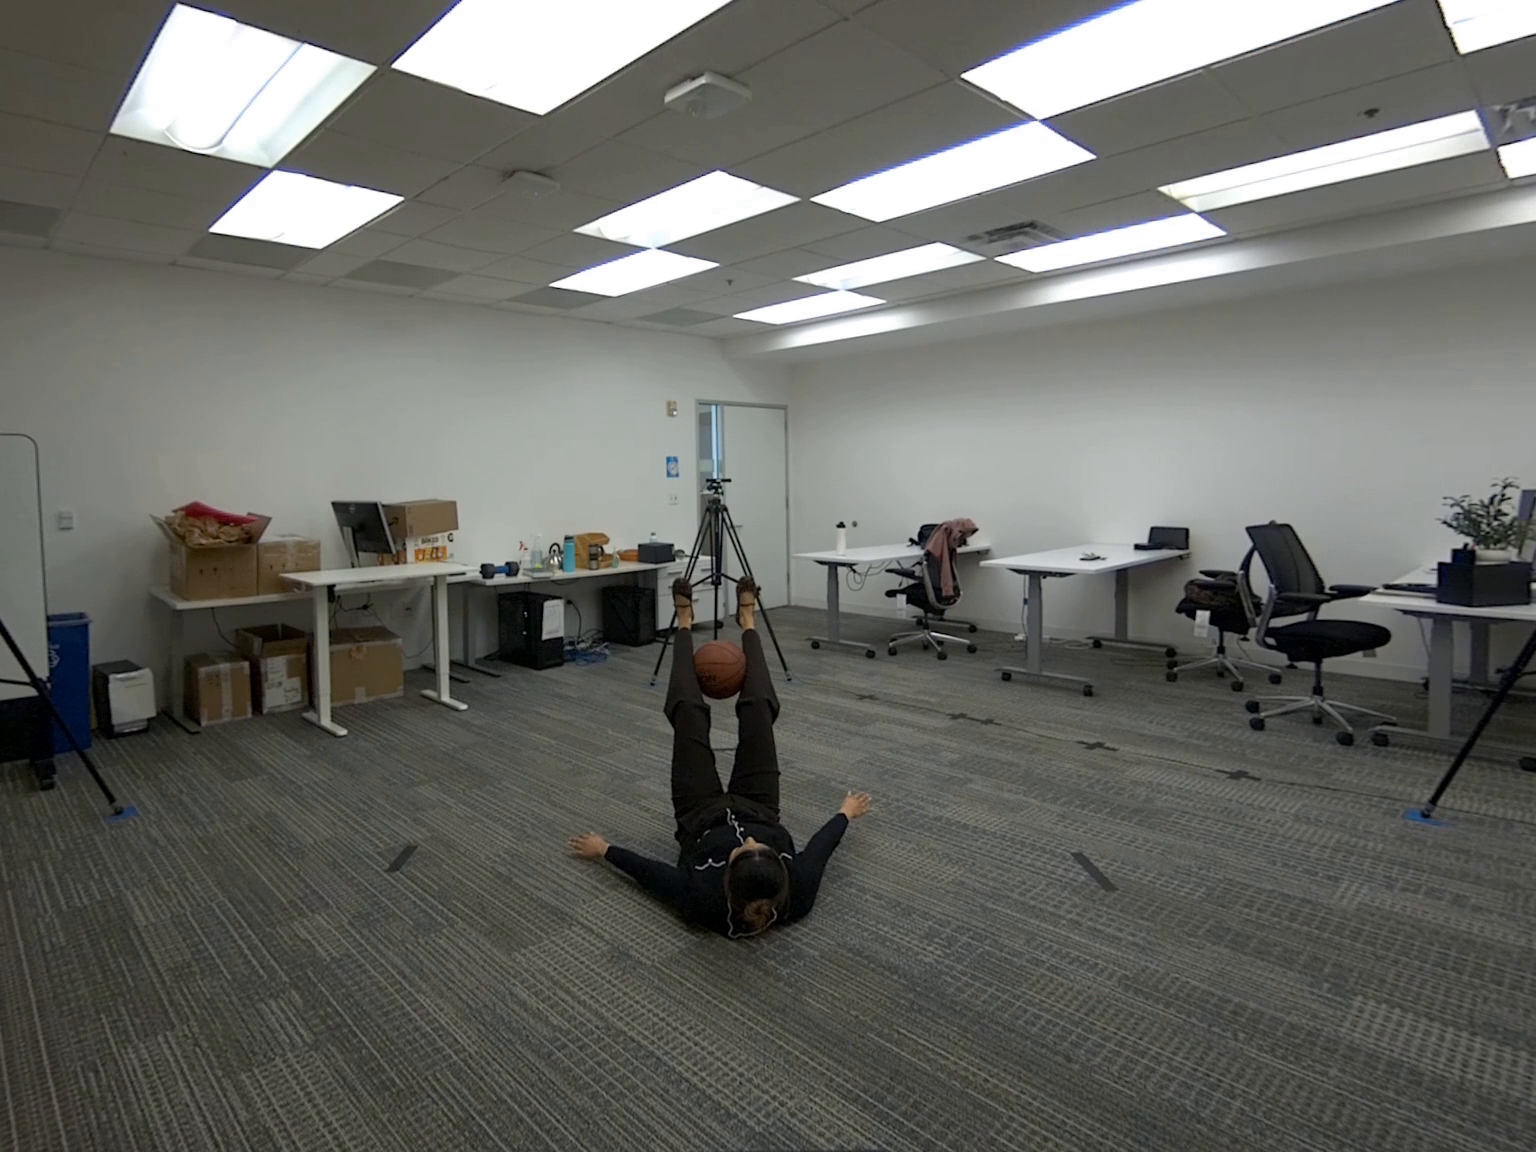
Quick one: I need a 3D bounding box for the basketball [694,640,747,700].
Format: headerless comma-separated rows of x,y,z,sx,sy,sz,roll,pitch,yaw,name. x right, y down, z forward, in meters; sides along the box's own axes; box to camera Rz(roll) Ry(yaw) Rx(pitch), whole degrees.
-0.194,0.381,3.437,0.236,0.235,0.237,-1,5,-2,basketball
